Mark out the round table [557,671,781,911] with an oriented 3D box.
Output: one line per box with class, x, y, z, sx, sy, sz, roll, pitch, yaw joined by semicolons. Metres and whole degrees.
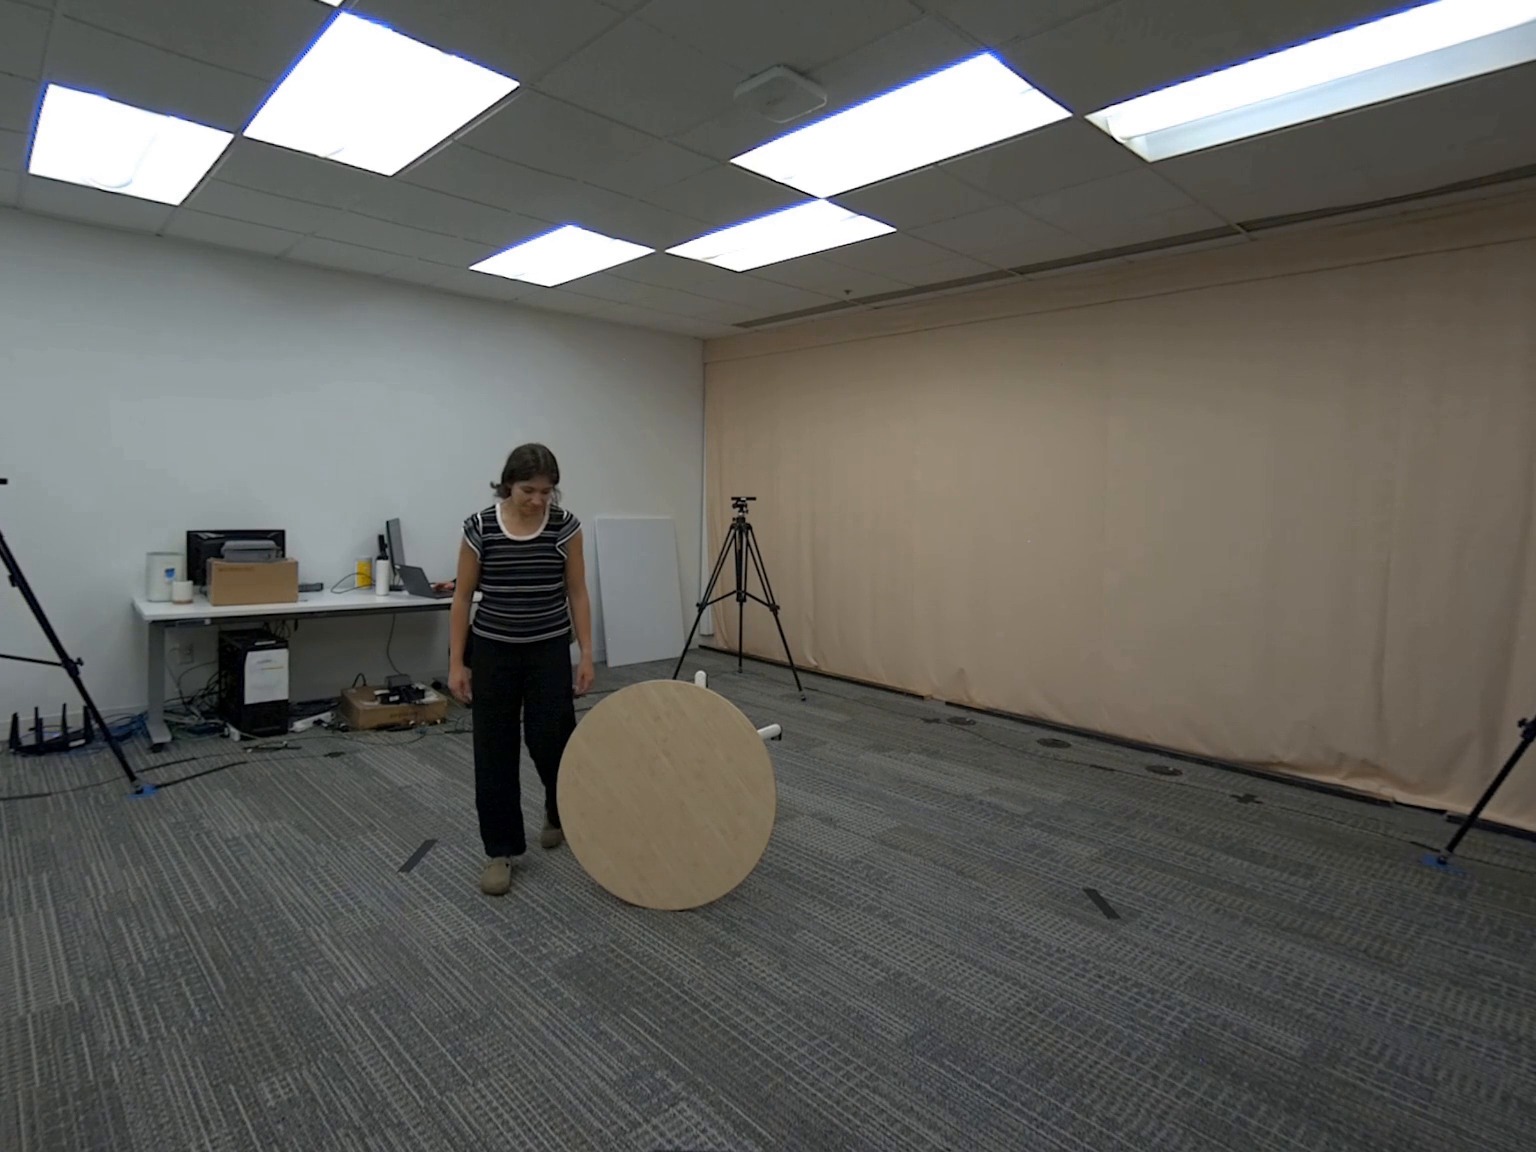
round table;-0.321;0.751;3.256;0.791;0.786;0.779;2;-2;8
